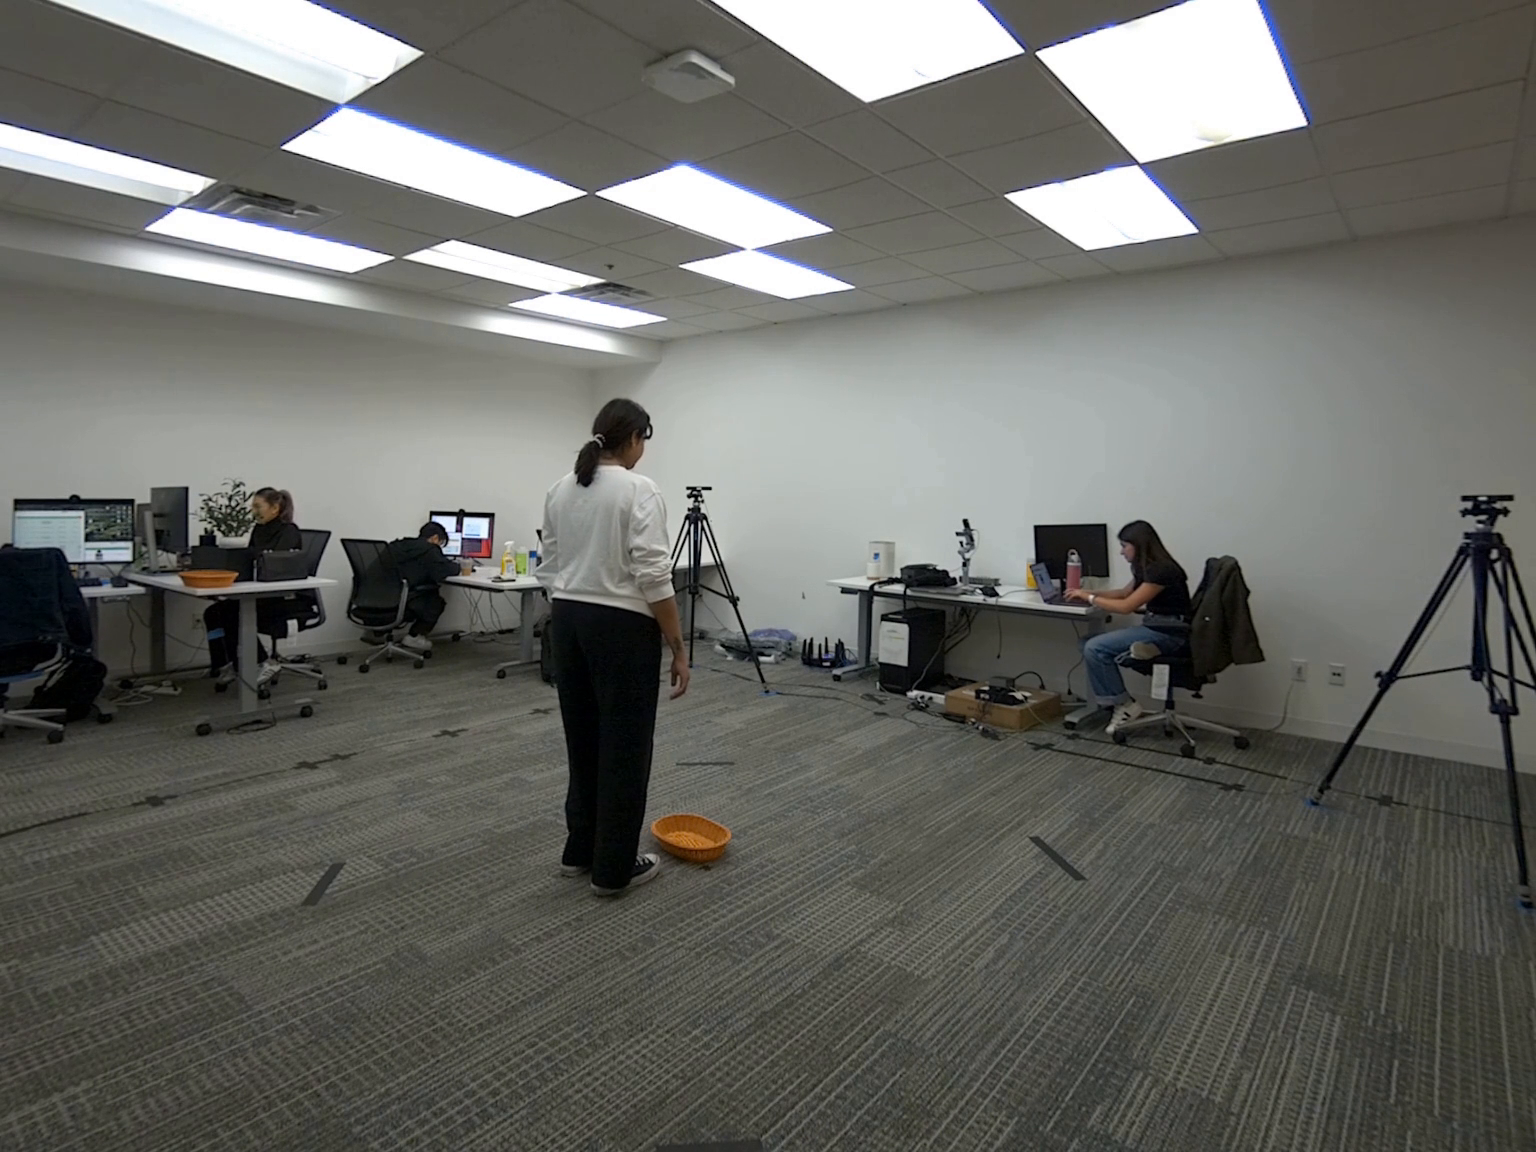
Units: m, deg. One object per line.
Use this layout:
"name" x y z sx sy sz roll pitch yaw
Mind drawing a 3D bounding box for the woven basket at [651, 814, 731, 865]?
"woven basket" -0.304 1.008 3.272 0.245 0.073 0.362 -5 8 -39
